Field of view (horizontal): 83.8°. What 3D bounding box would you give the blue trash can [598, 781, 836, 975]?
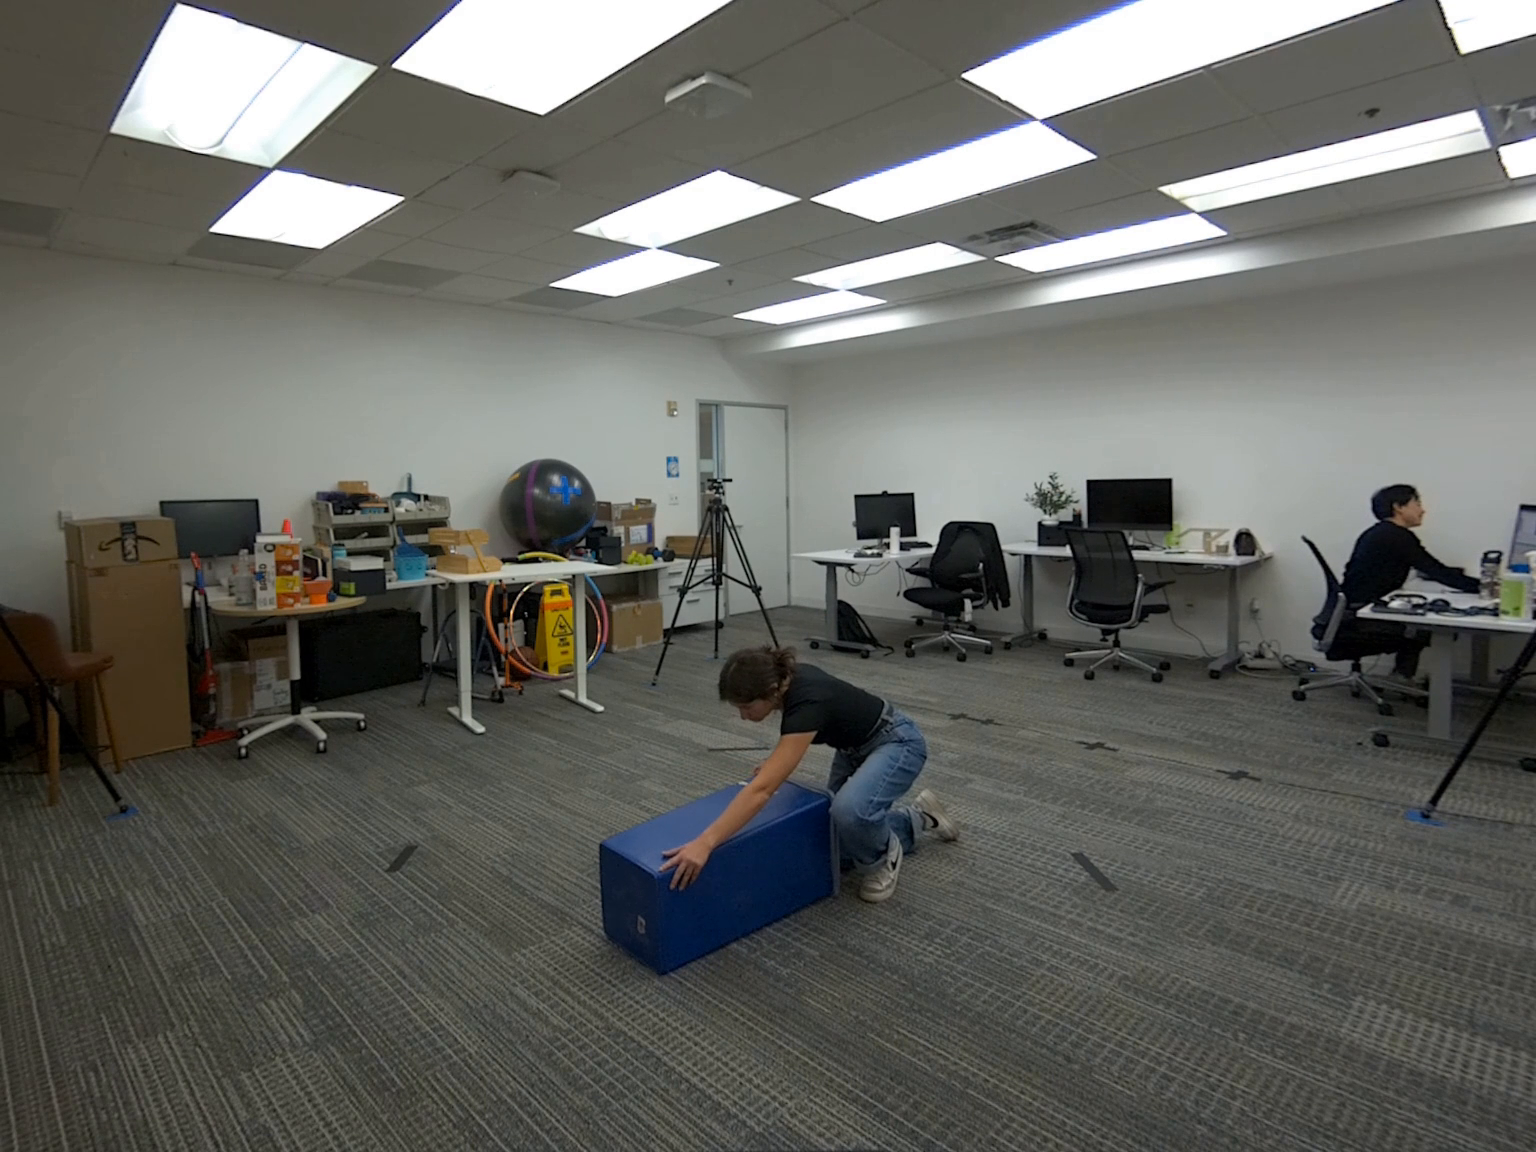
[{"bbox_3d":[-0.145,0.929,2.724,0.696,0.375,0.386,-10,11,-42],"label":"blue trash can"}]
